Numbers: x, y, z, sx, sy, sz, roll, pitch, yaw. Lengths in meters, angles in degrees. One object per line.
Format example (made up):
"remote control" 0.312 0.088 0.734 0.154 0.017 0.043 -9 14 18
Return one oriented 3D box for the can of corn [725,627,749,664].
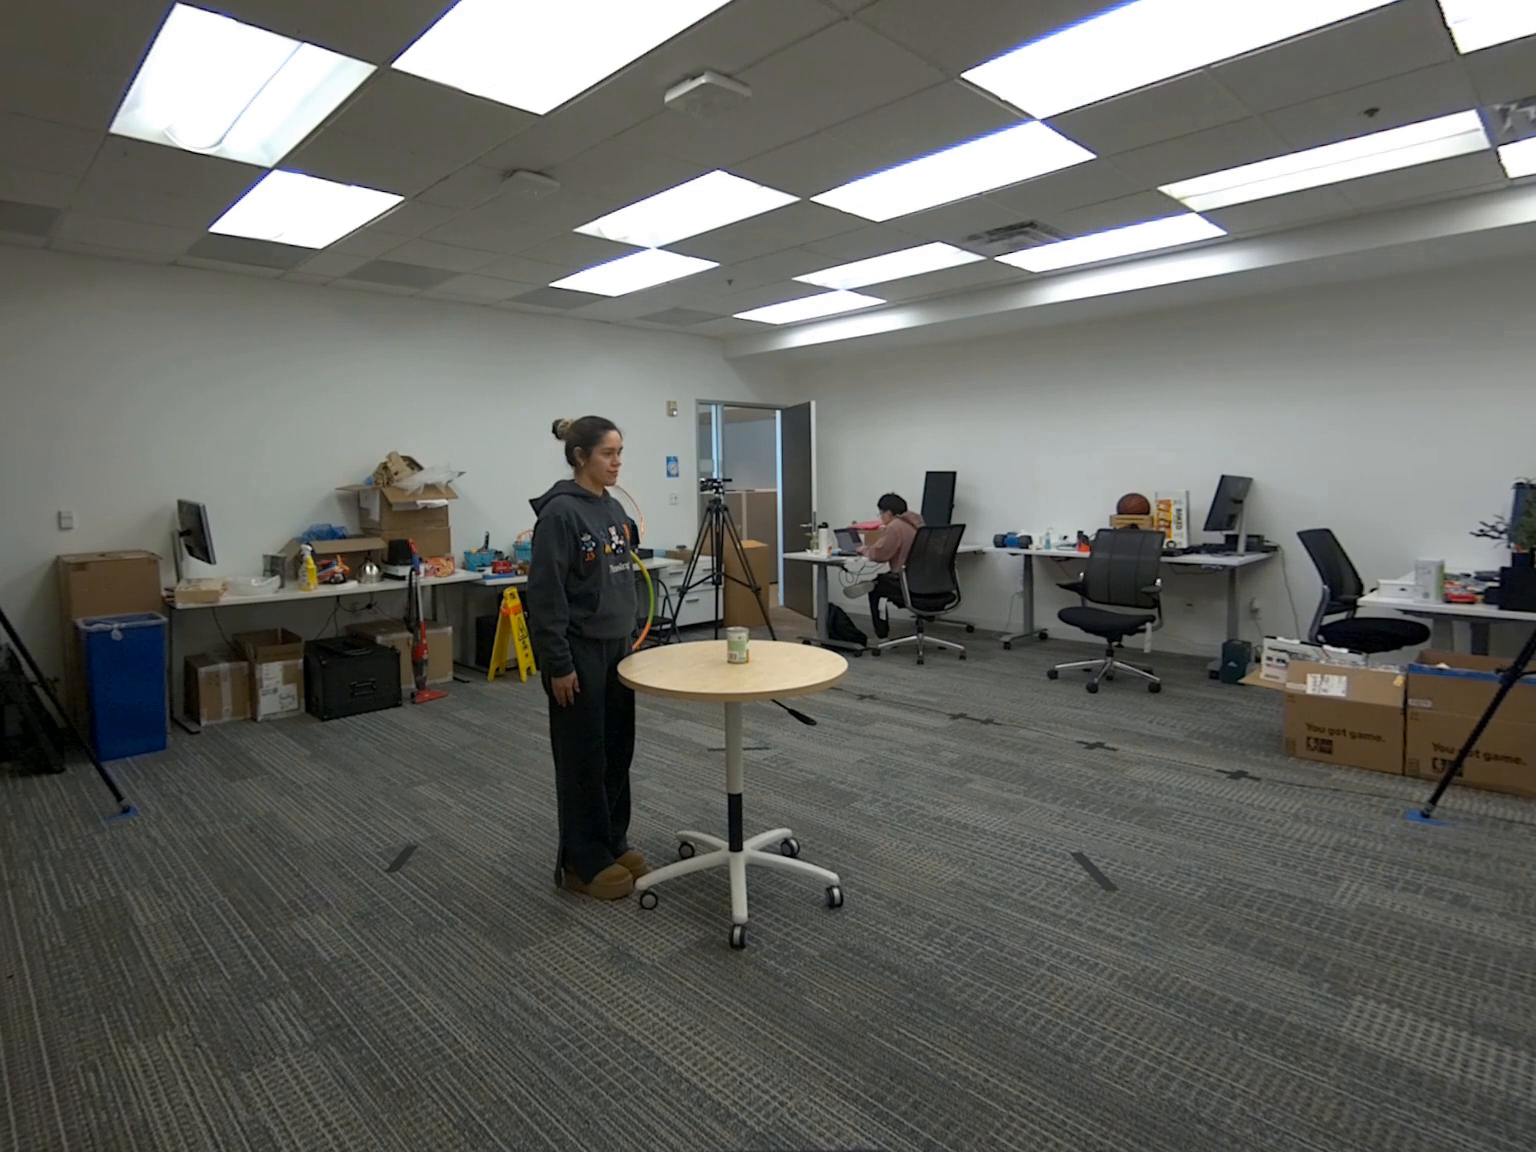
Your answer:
"can of corn" -0.106 0.234 2.856 0.074 0.110 0.075 -4 6 -1
